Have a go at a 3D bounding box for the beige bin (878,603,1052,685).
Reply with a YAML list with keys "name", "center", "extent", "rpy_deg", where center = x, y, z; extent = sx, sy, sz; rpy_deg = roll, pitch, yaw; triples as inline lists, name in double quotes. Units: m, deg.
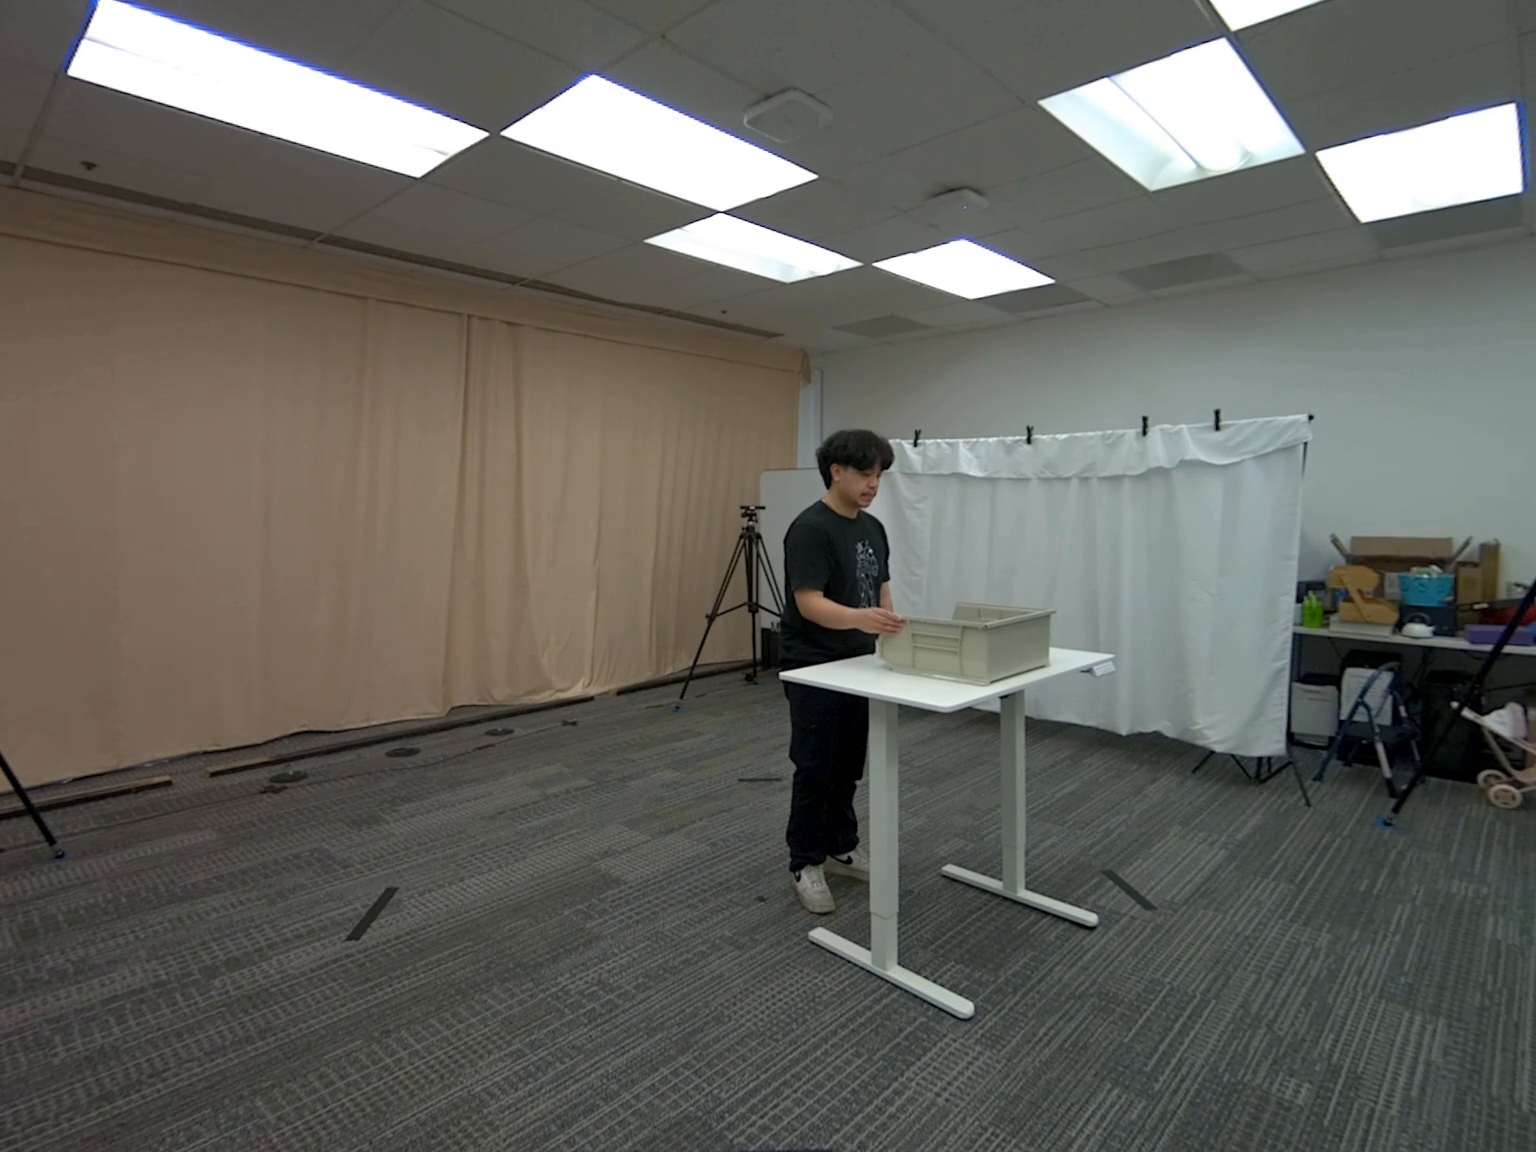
- name: "beige bin"
  center: [0.620, 0.202, 2.630]
  extent: [0.409, 0.188, 0.390]
  rpy_deg: [-4, 6, -44]
